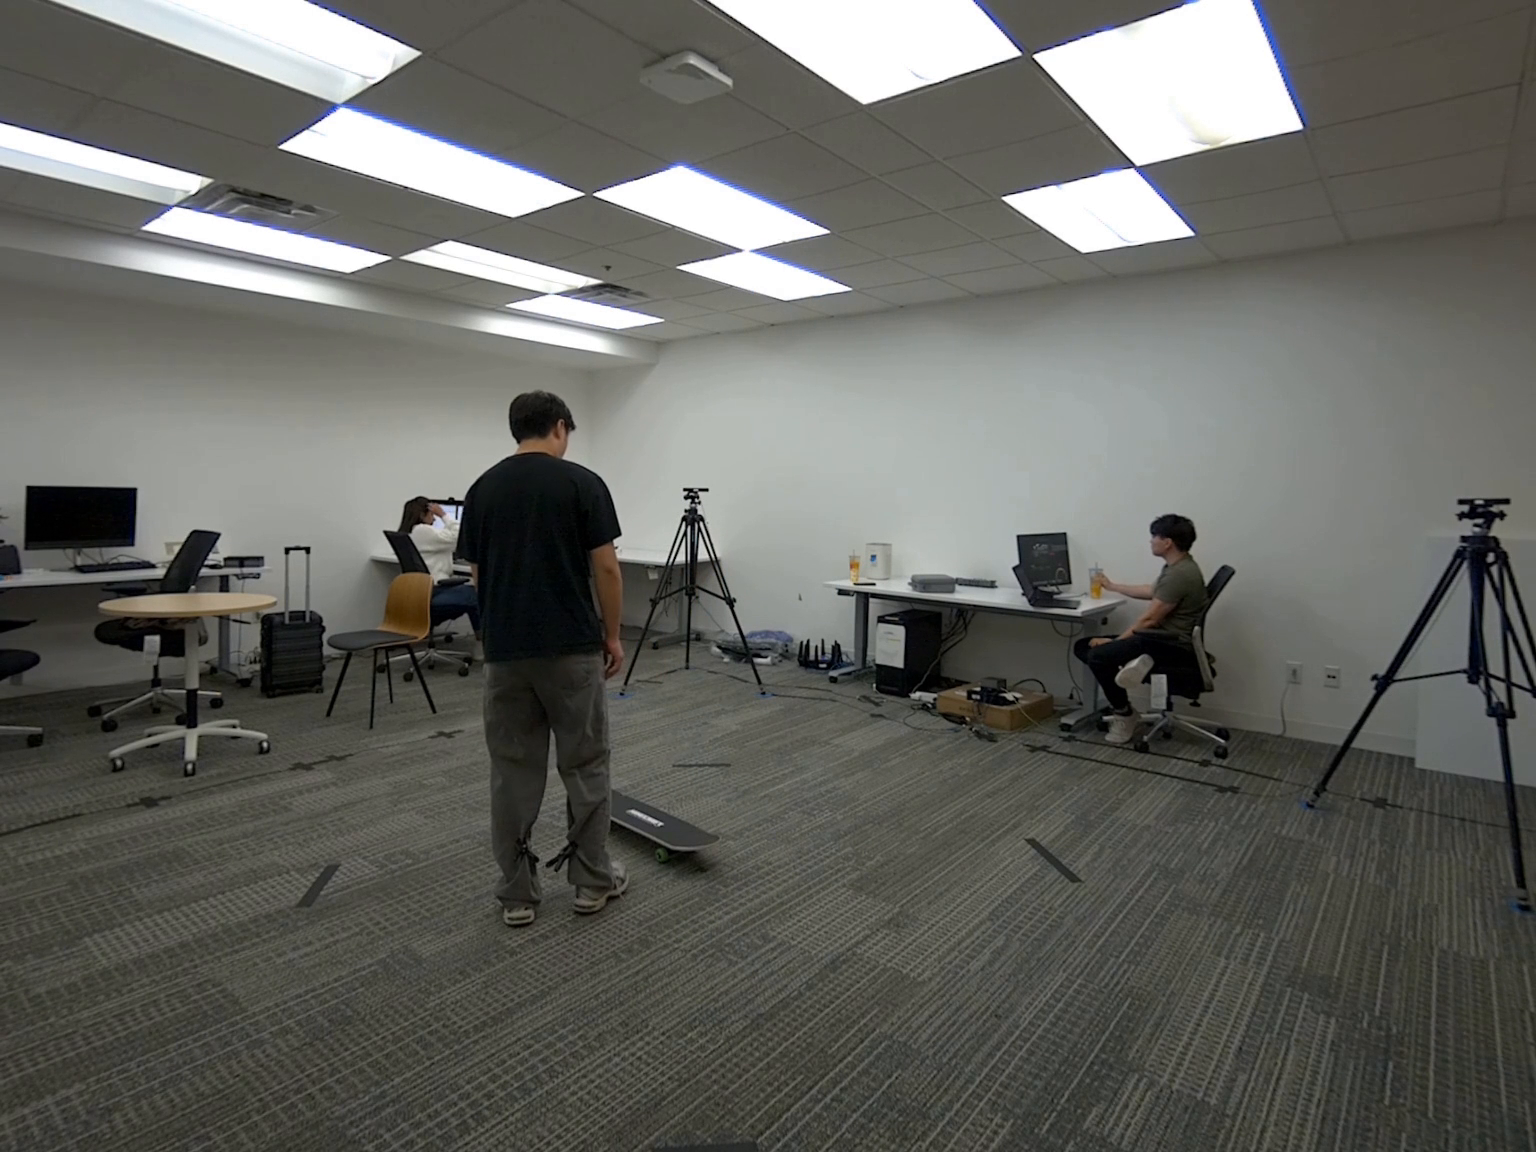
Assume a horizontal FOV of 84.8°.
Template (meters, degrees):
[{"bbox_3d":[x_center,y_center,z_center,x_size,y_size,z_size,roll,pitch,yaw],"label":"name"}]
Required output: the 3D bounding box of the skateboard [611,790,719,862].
[{"bbox_3d":[-0.501,0.983,3.358,0.813,0.110,0.188,7,8,45],"label":"skateboard"}]
